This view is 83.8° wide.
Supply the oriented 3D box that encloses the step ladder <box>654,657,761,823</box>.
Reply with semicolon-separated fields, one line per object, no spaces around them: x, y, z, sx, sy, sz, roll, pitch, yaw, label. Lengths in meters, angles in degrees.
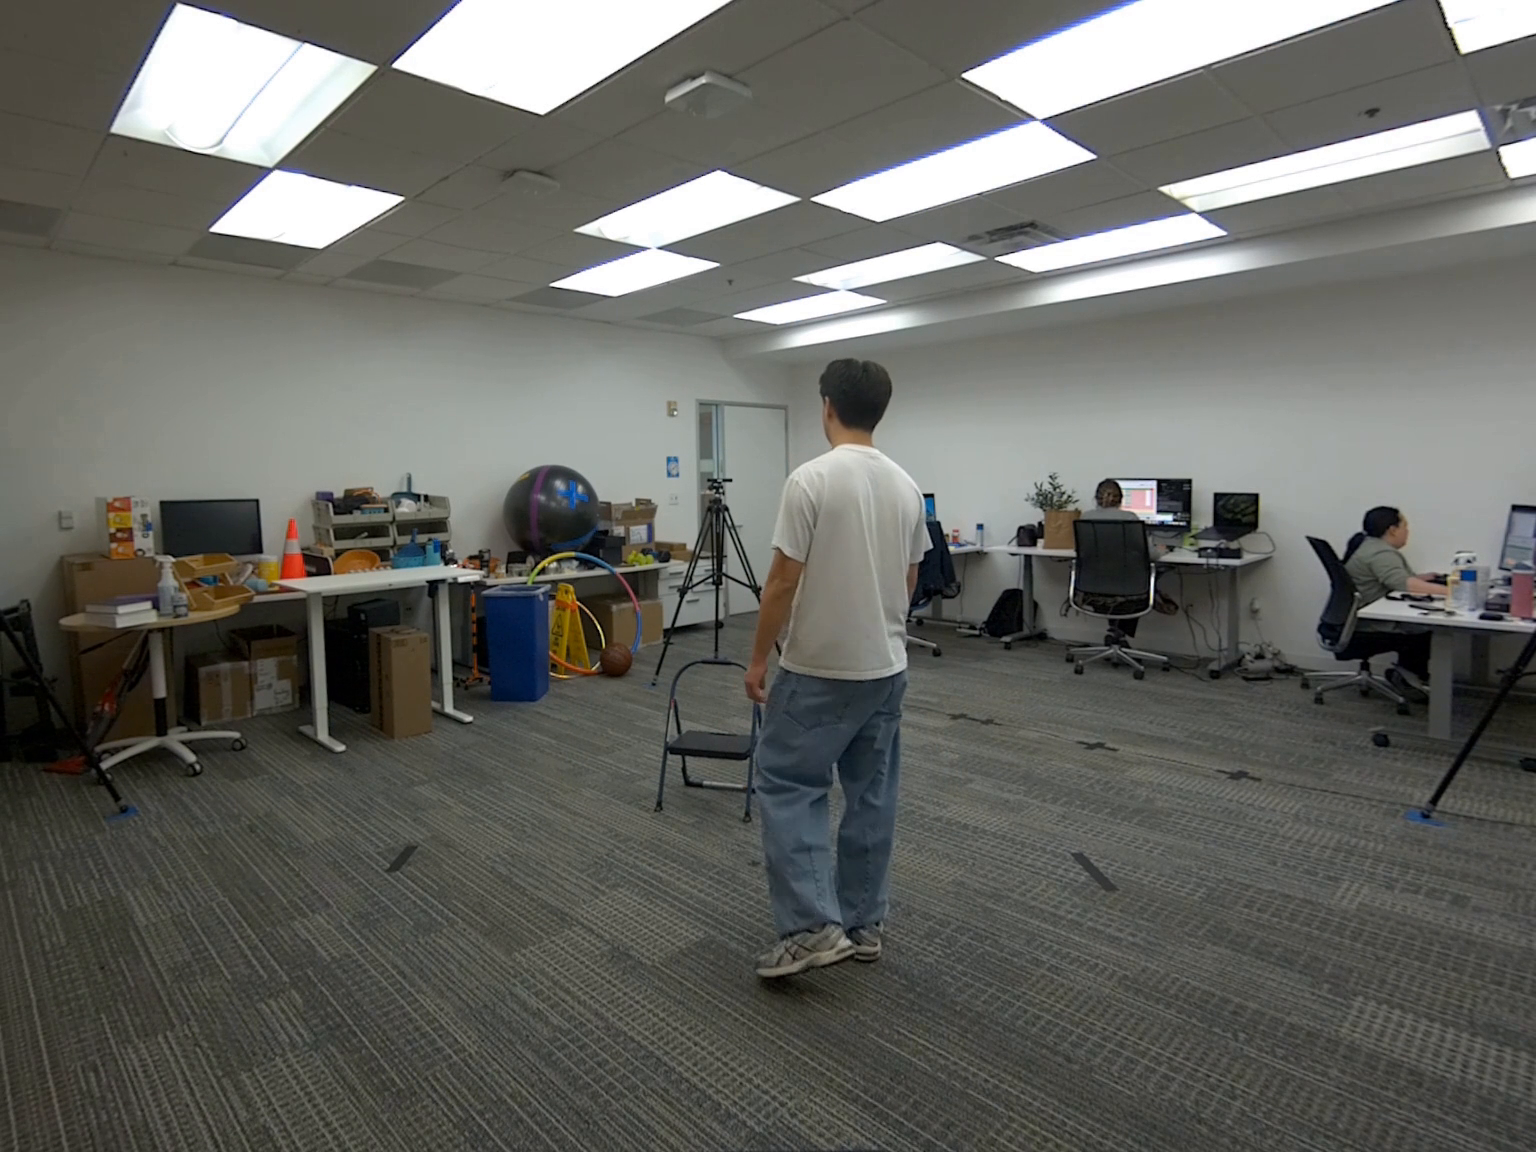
-0.236;0.678;3.694;0.438;0.604;0.344;0;4;19;step ladder
